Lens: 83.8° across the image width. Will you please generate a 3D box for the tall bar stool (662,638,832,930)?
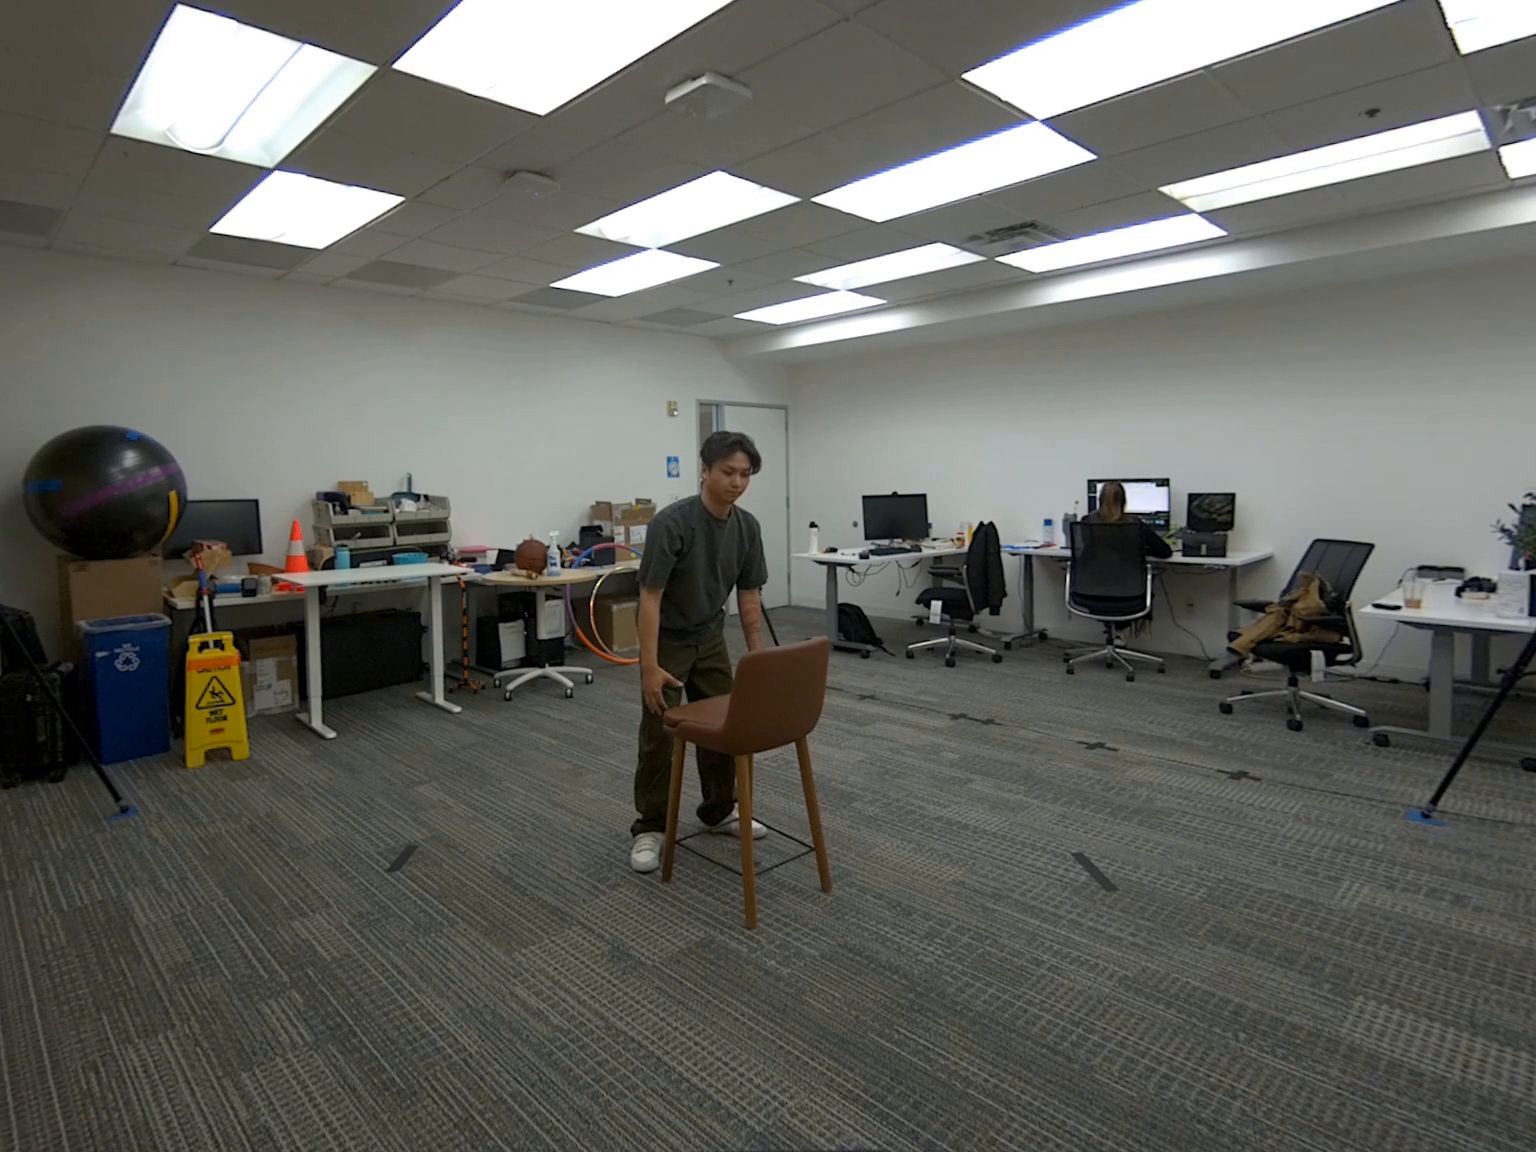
[{"bbox_3d":[-0.067,0.629,2.914,0.444,0.885,0.482,-4,7,-41],"label":"tall bar stool"}]
